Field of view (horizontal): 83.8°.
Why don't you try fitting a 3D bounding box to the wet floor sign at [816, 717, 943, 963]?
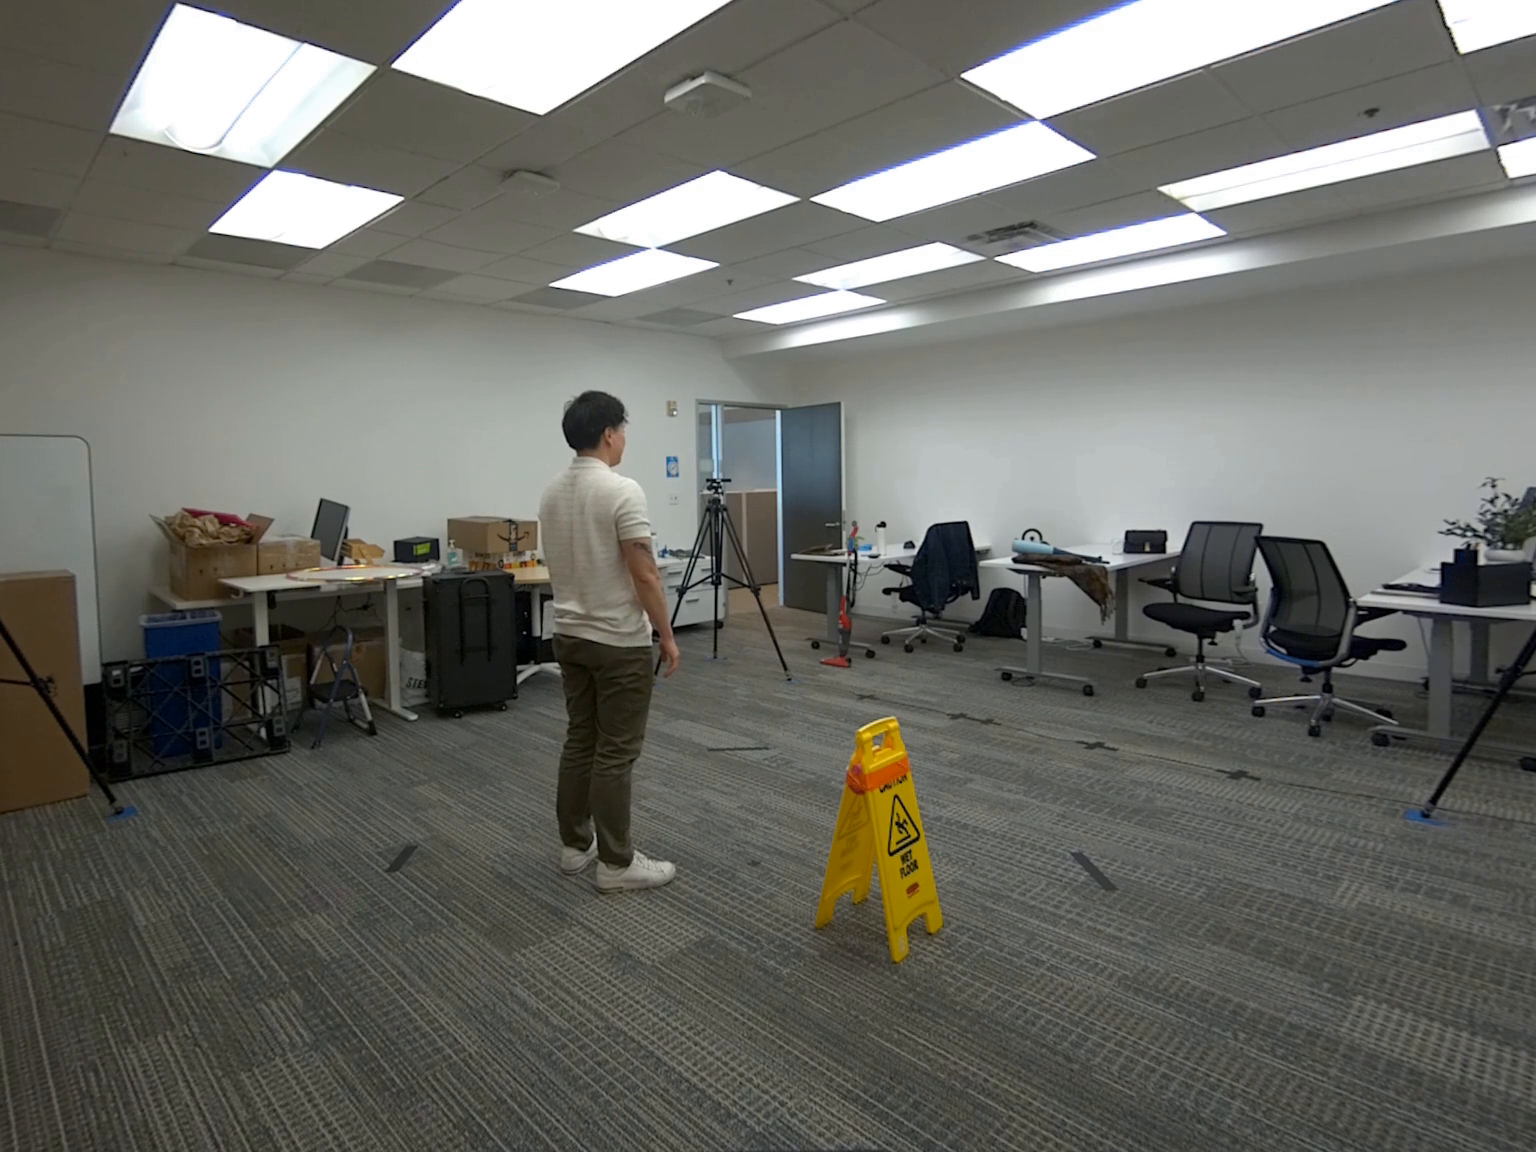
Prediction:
[{"bbox_3d":[0.345,0.769,2.625,0.299,0.643,0.275,4,7,42],"label":"wet floor sign"}]
